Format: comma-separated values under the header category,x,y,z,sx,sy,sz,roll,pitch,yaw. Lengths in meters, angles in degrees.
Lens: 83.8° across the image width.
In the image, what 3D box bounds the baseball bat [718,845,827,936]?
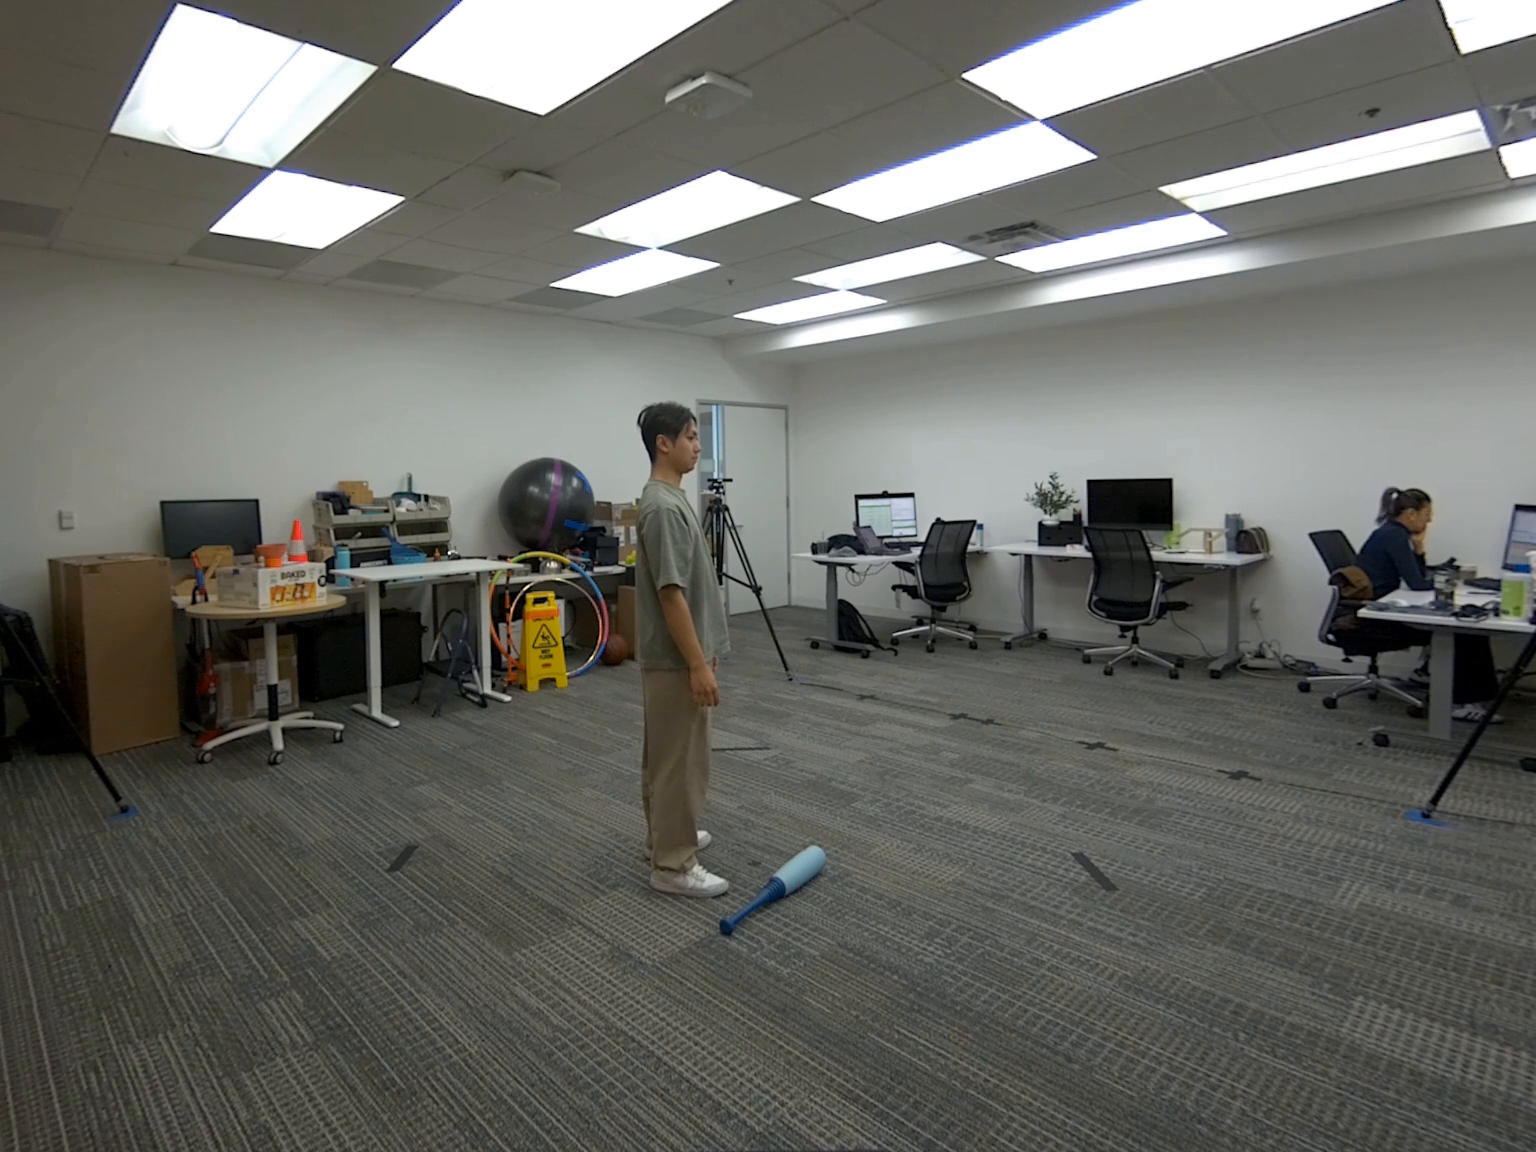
category,x,y,z,sx,sy,sz,roll,pitch,yaw
baseball bat,0.026,1.043,2.827,0.091,0.088,0.532,3,12,36
